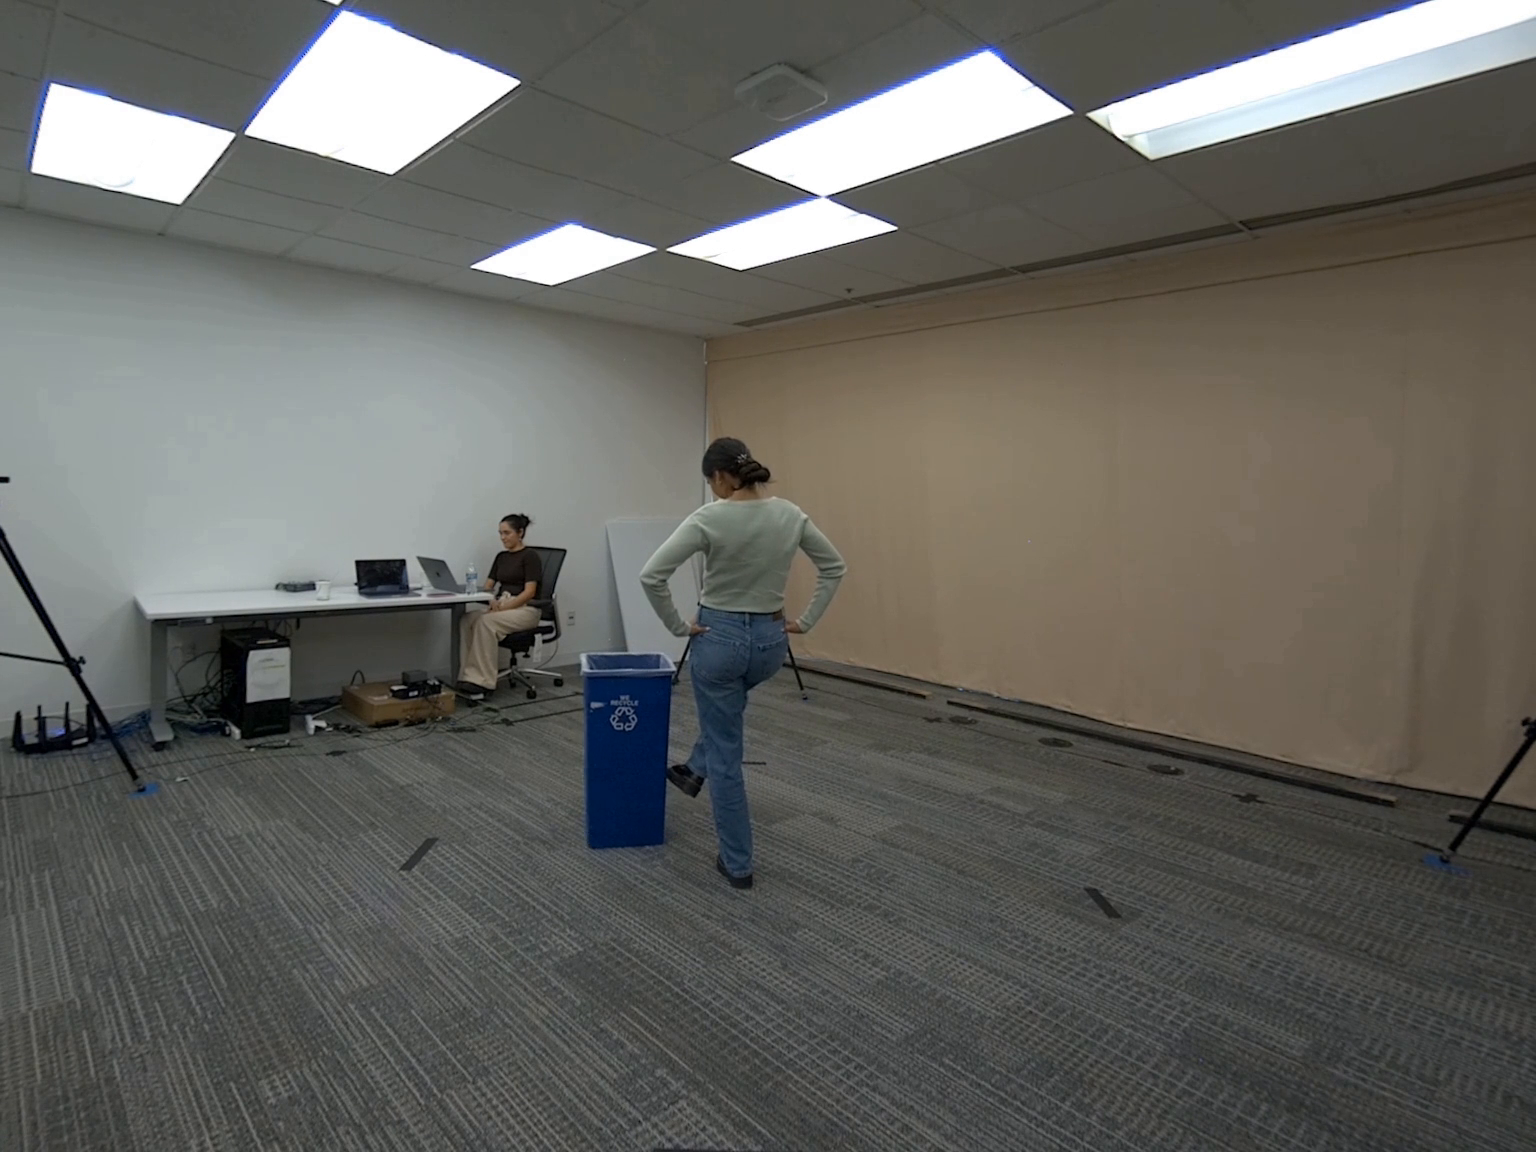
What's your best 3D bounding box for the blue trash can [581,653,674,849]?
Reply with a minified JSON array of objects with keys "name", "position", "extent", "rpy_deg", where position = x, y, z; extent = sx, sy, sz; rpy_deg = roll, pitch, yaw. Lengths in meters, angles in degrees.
[{"name":"blue trash can","position":[-0.588,0.703,3.453],"extent":[0.374,0.712,0.379],"rpy_deg":[1,3,-15]}]
